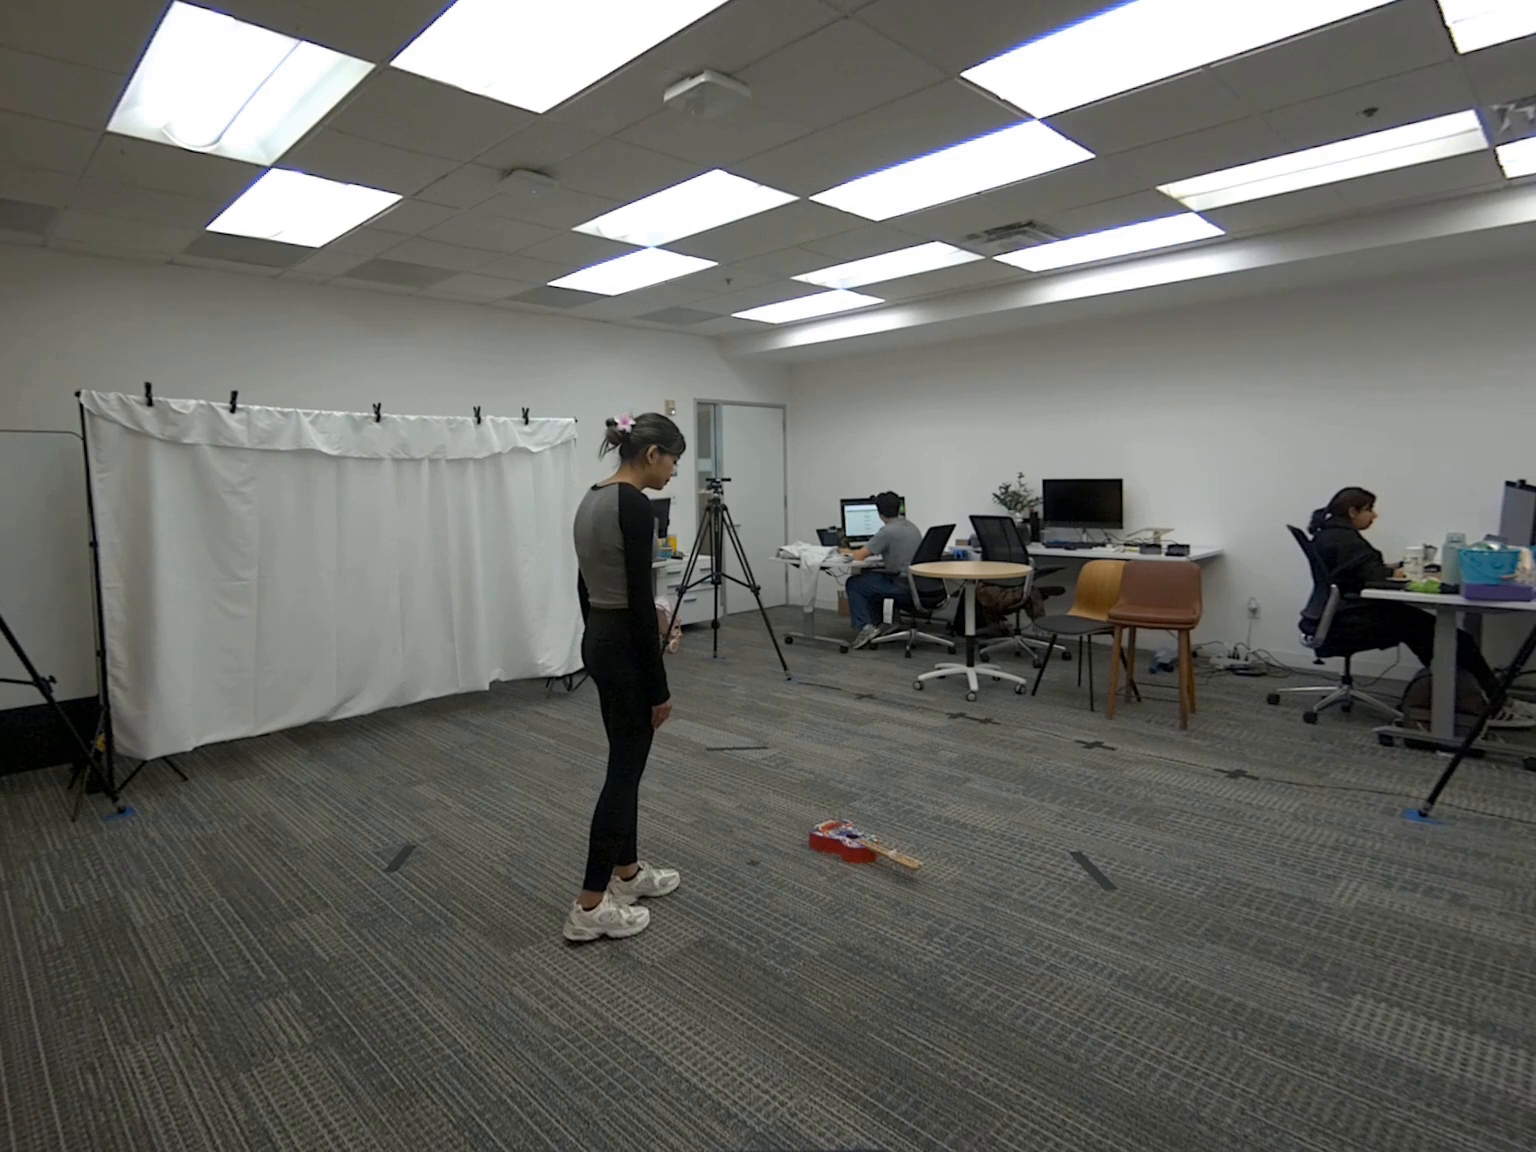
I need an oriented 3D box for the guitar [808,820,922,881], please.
[{"bbox_3d":[0.338,1.000,3.107,0.189,0.070,0.511,-4,6,-28],"label":"guitar"}]
